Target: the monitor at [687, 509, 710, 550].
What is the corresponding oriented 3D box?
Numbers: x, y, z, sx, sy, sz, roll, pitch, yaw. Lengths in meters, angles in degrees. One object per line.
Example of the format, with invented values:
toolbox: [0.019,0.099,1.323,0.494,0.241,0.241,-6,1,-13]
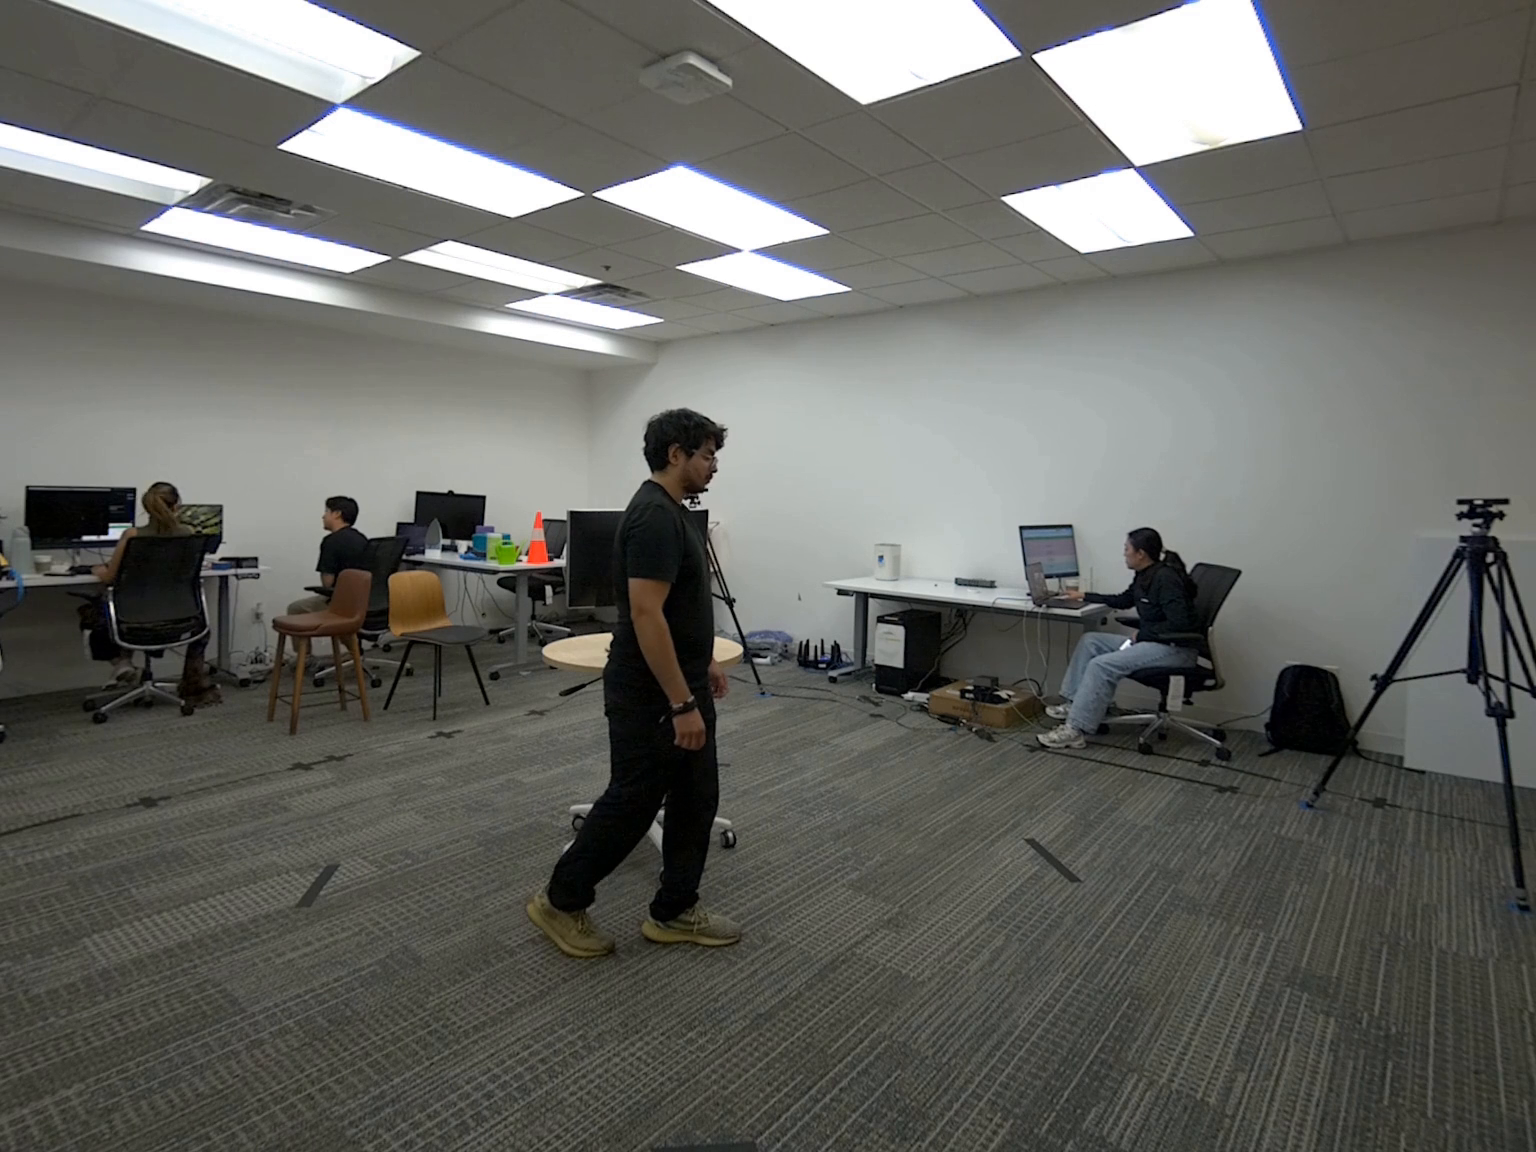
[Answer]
monitor: [-0.464,0.022,3.153,0.552,0.552,0.216,-1,5,-26]
